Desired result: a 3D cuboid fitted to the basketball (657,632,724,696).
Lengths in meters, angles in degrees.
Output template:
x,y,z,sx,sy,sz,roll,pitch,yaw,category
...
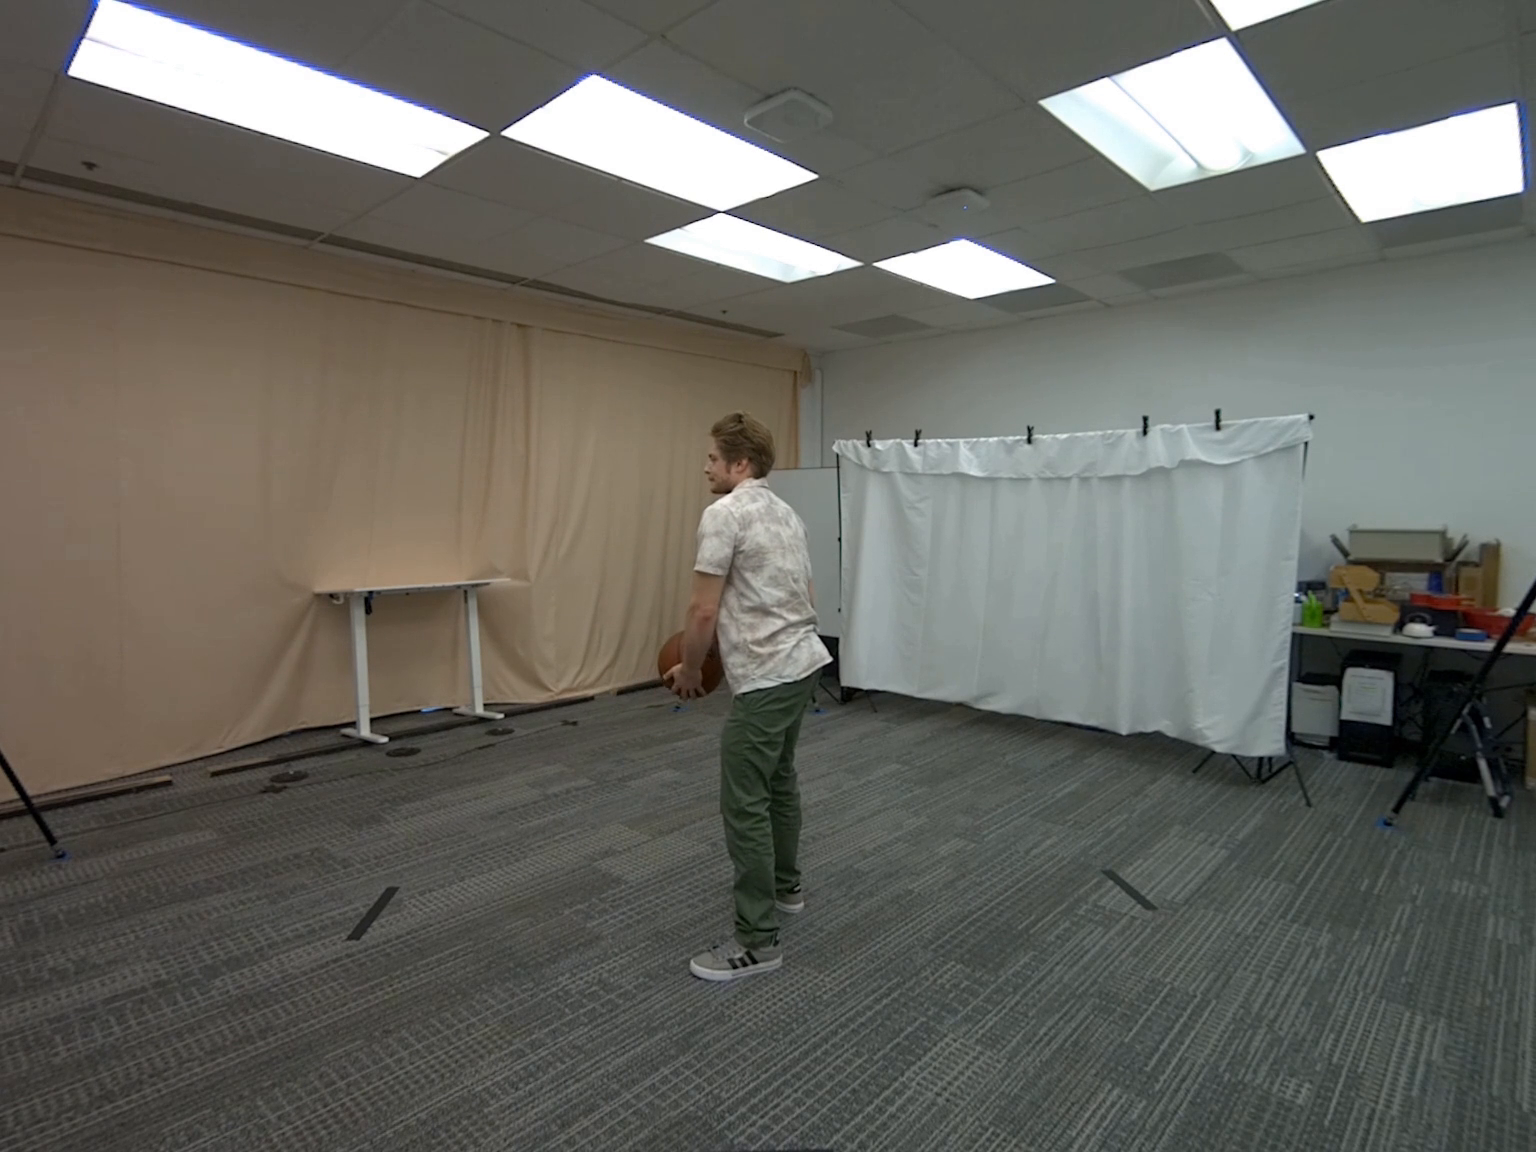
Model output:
x,y,z,sx,sy,sz,roll,pitch,yaw,category
-0.258,0.301,2.933,0.236,0.235,0.237,0,4,-2,basketball
